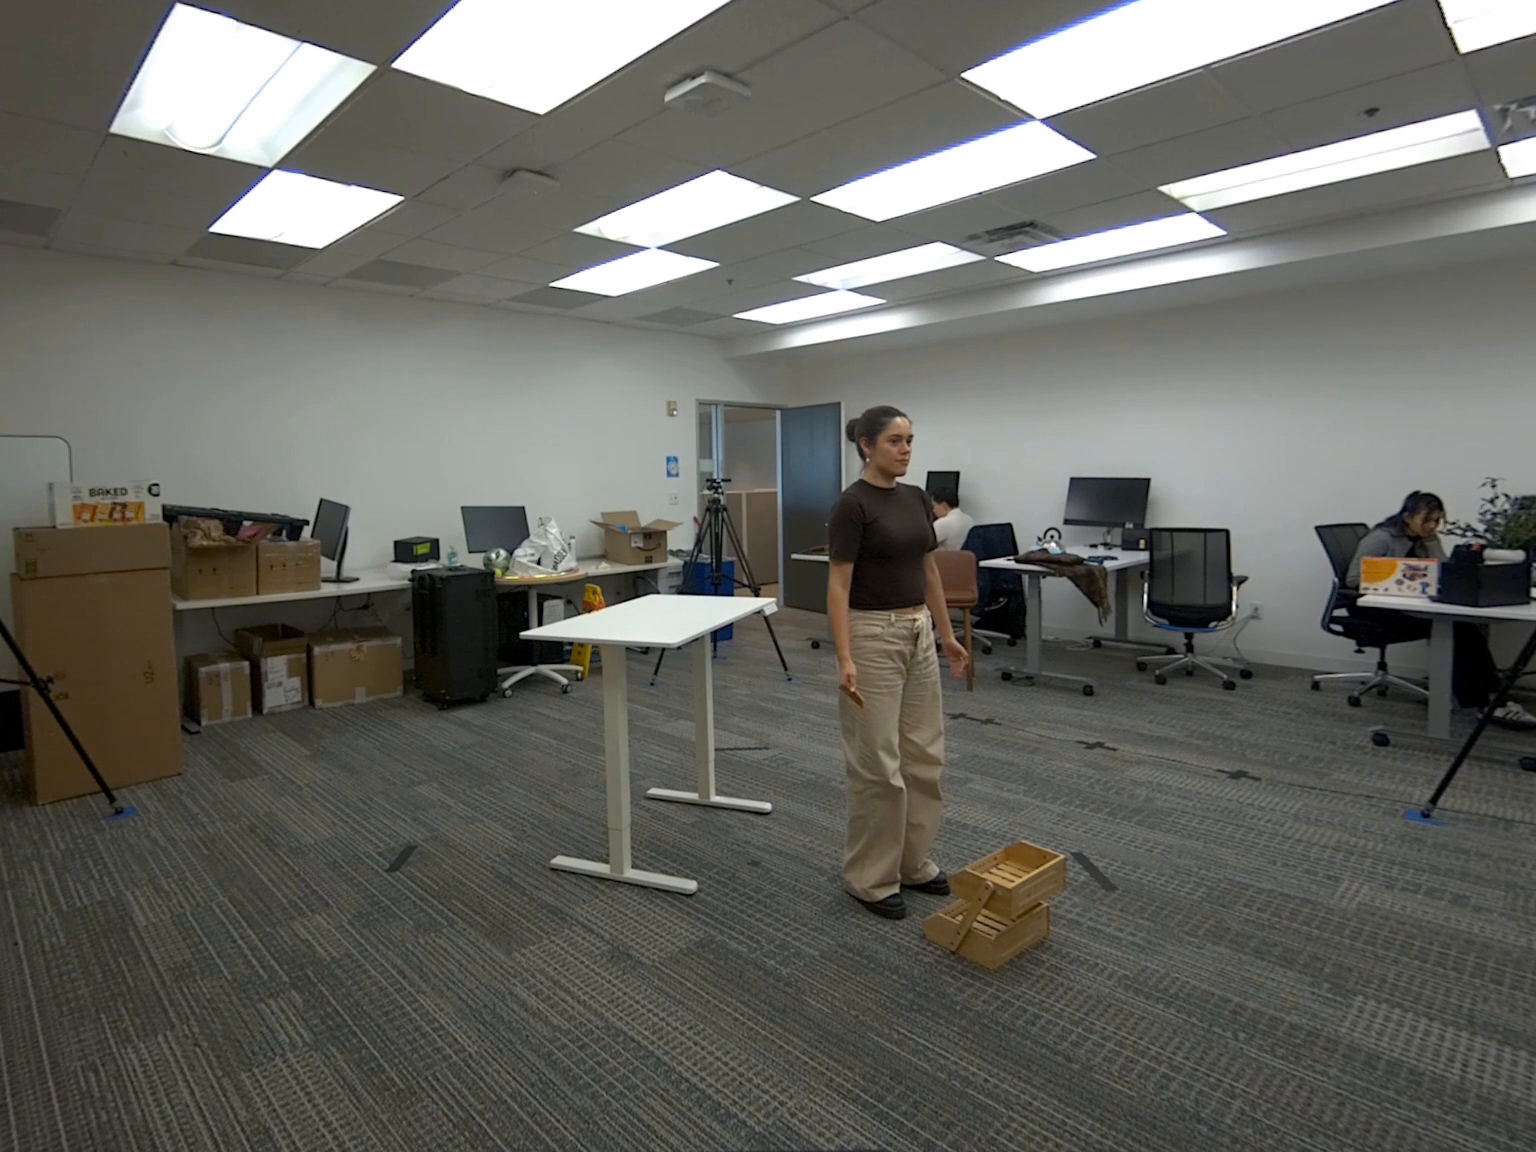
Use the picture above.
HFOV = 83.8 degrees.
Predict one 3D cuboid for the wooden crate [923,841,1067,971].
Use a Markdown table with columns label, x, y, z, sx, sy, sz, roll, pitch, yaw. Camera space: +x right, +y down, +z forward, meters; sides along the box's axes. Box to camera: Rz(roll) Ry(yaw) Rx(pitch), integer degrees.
| label | x | y | z | sx | sy | sz | roll | pitch | yaw |
| --- | --- | --- | --- | --- | --- | --- | --- | --- | --- |
| wooden crate | 0.681 | 0.959 | 2.564 | 0.316 | 0.272 | 0.311 | -5 | 7 | -41 |
